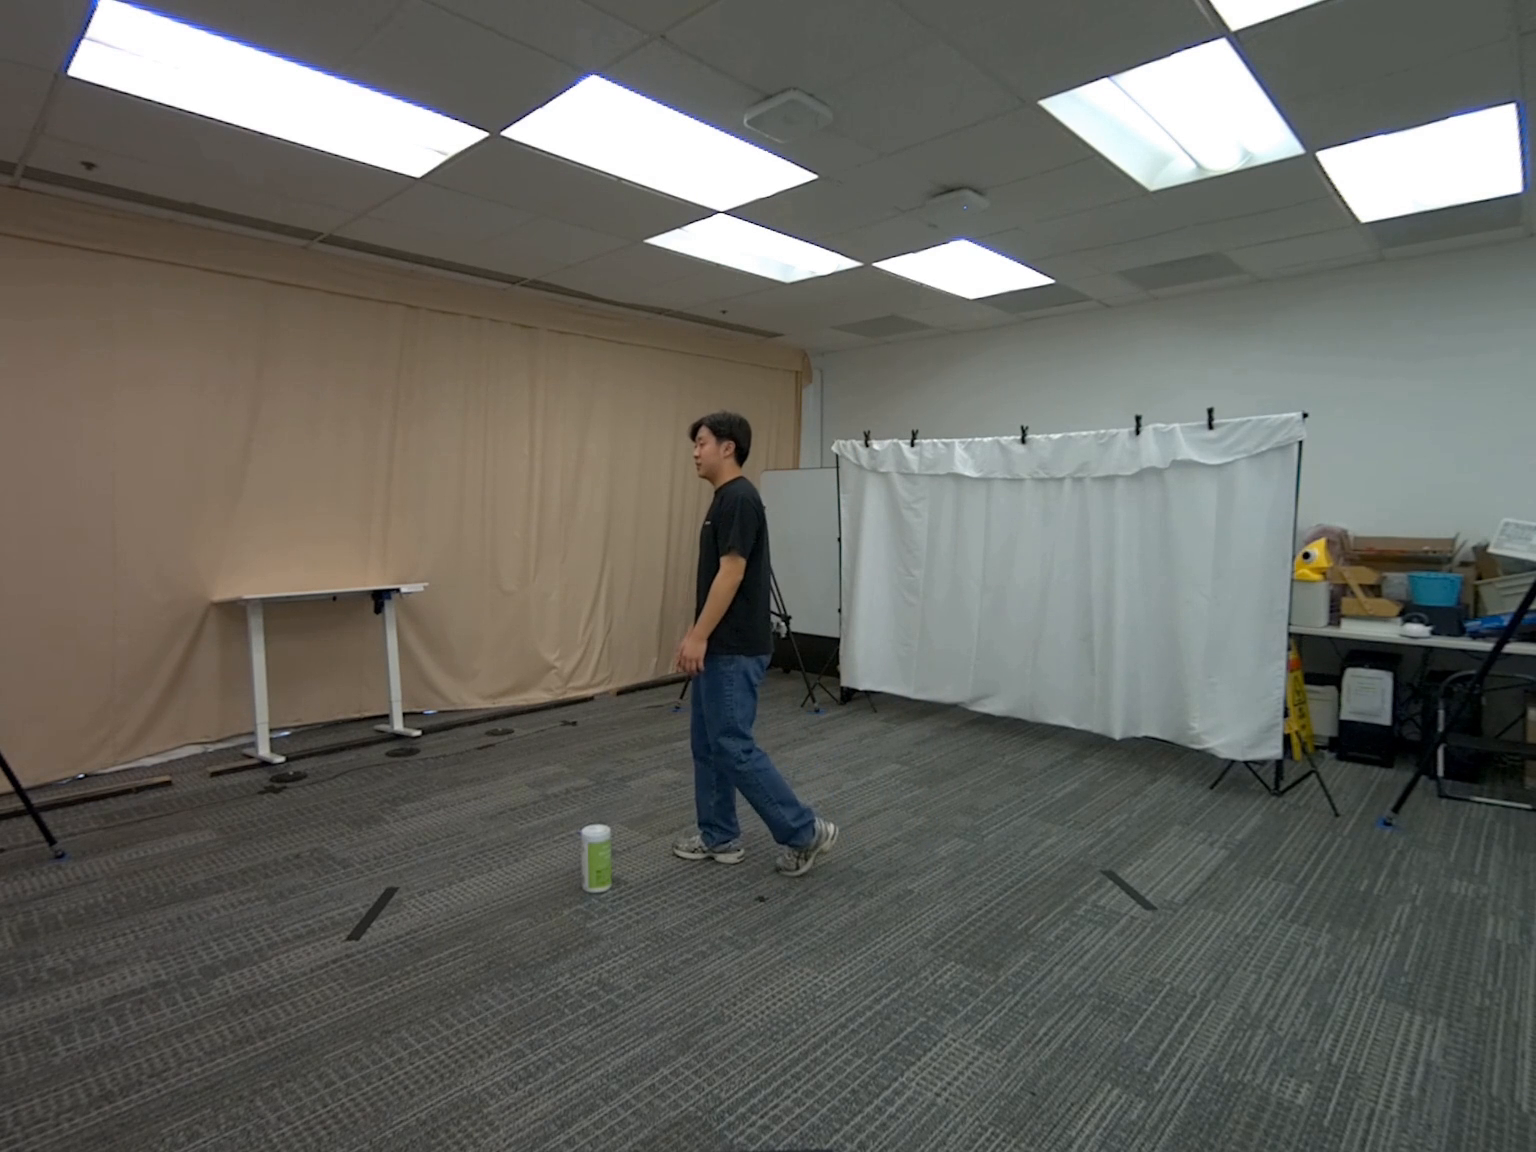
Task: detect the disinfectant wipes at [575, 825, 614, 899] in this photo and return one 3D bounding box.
[{"bbox_3d":[-0.630,1.037,3.078,0.118,0.217,0.118,-1,2,-2],"label":"disinfectant wipes"}]
